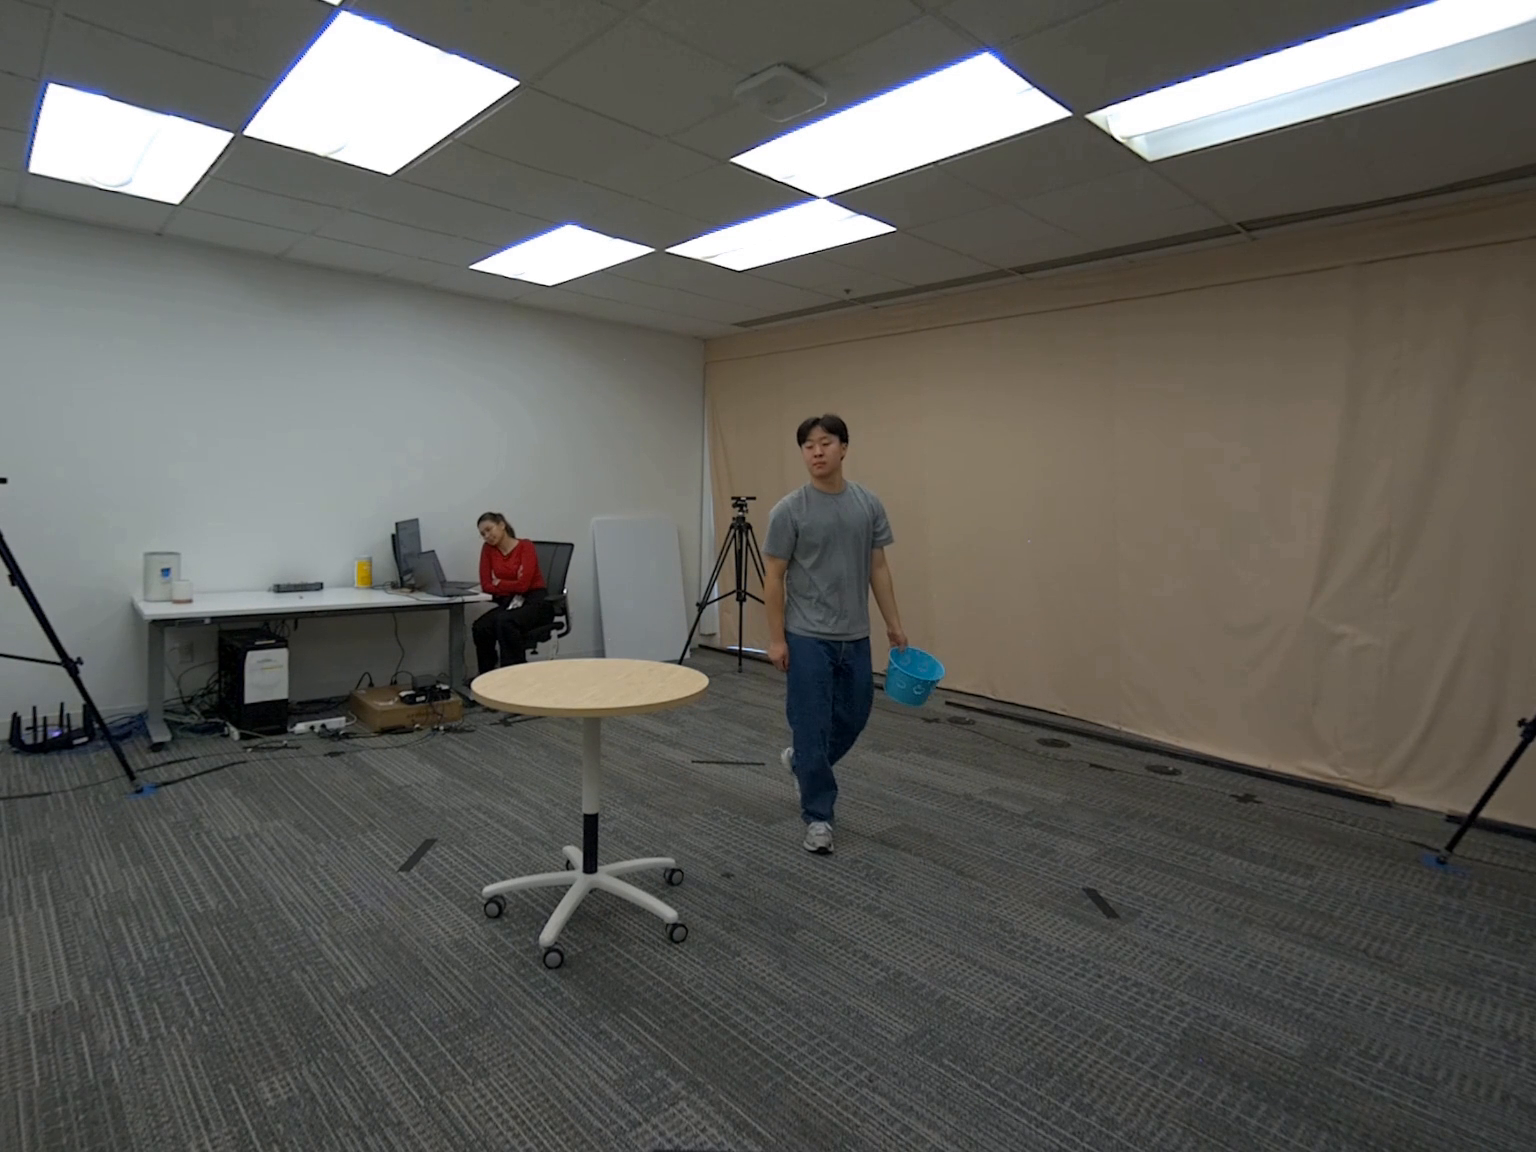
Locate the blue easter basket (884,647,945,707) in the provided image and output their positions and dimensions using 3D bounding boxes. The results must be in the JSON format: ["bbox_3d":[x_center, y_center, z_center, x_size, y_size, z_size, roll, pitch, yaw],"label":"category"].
[{"bbox_3d":[0.574,0.415,3.433,0.242,0.154,0.248,12,27,-8],"label":"blue easter basket"}]
